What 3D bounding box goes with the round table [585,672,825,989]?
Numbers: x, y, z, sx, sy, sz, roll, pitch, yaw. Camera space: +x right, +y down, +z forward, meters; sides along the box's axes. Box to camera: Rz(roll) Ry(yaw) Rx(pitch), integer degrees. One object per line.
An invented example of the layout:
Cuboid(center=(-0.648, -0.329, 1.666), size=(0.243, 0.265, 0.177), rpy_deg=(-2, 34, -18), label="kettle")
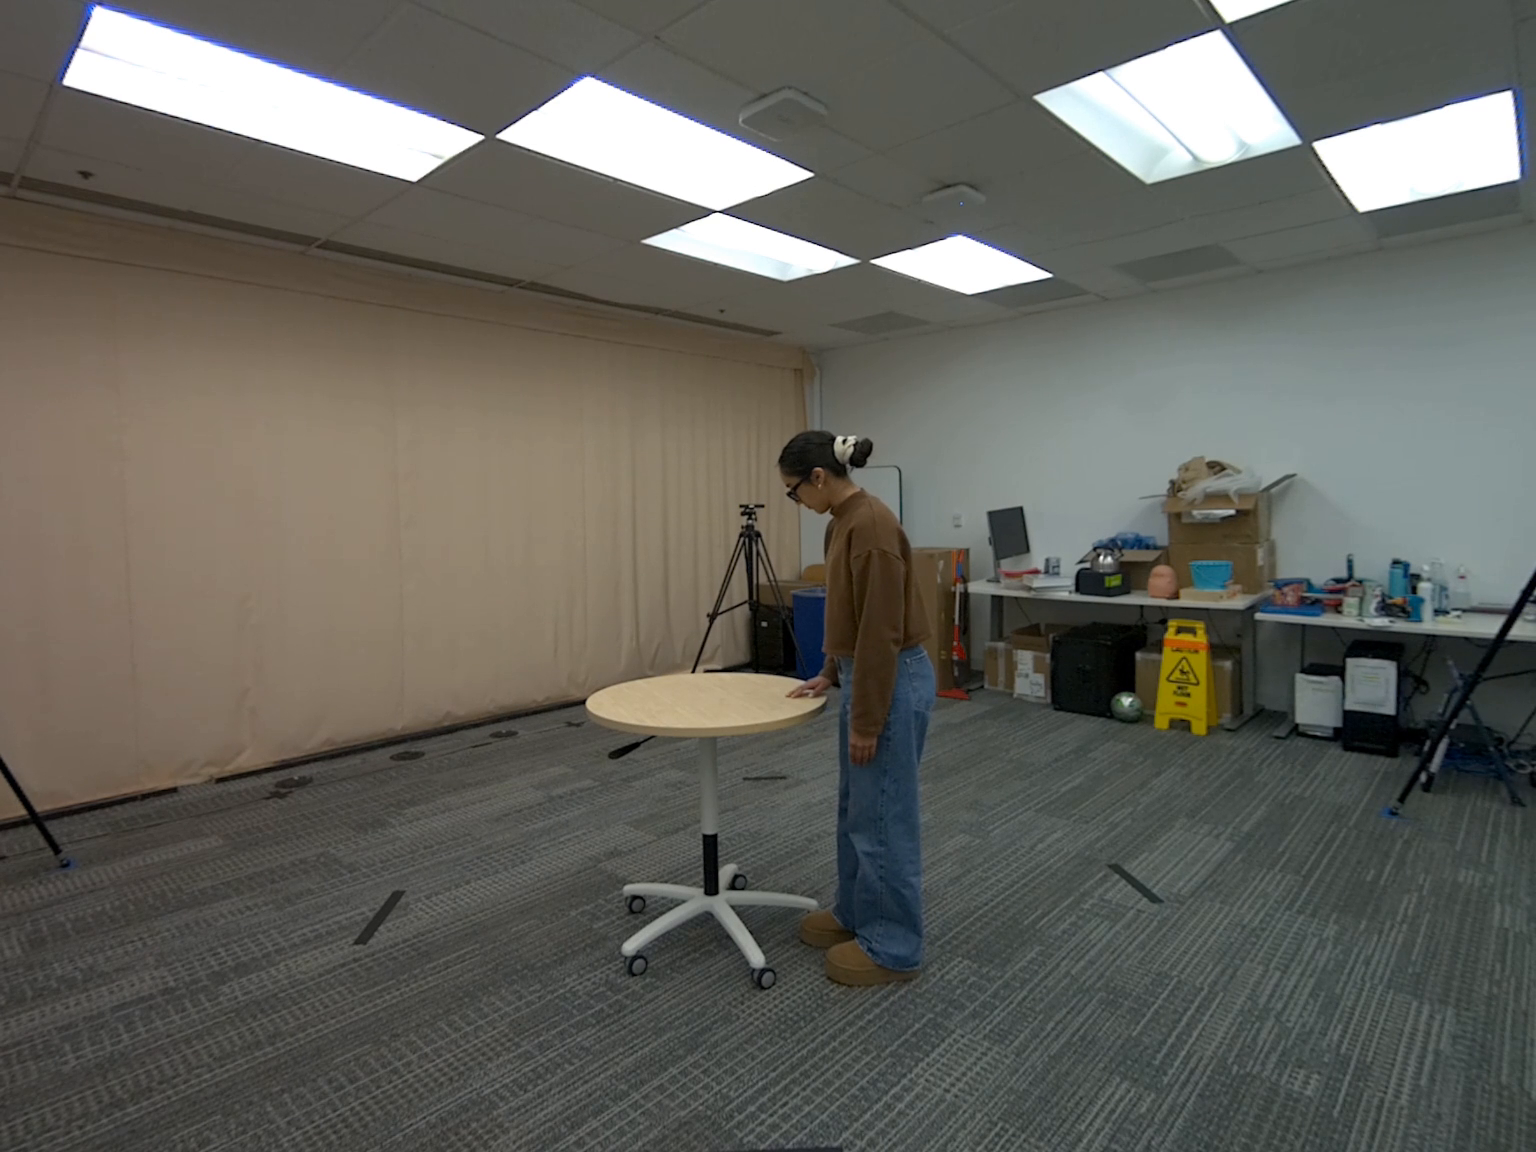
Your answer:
Cuboid(center=(-0.185, 0.780, 2.709), size=(0.763, 0.792, 0.767), rpy_deg=(-1, 4, -2), label="round table")
